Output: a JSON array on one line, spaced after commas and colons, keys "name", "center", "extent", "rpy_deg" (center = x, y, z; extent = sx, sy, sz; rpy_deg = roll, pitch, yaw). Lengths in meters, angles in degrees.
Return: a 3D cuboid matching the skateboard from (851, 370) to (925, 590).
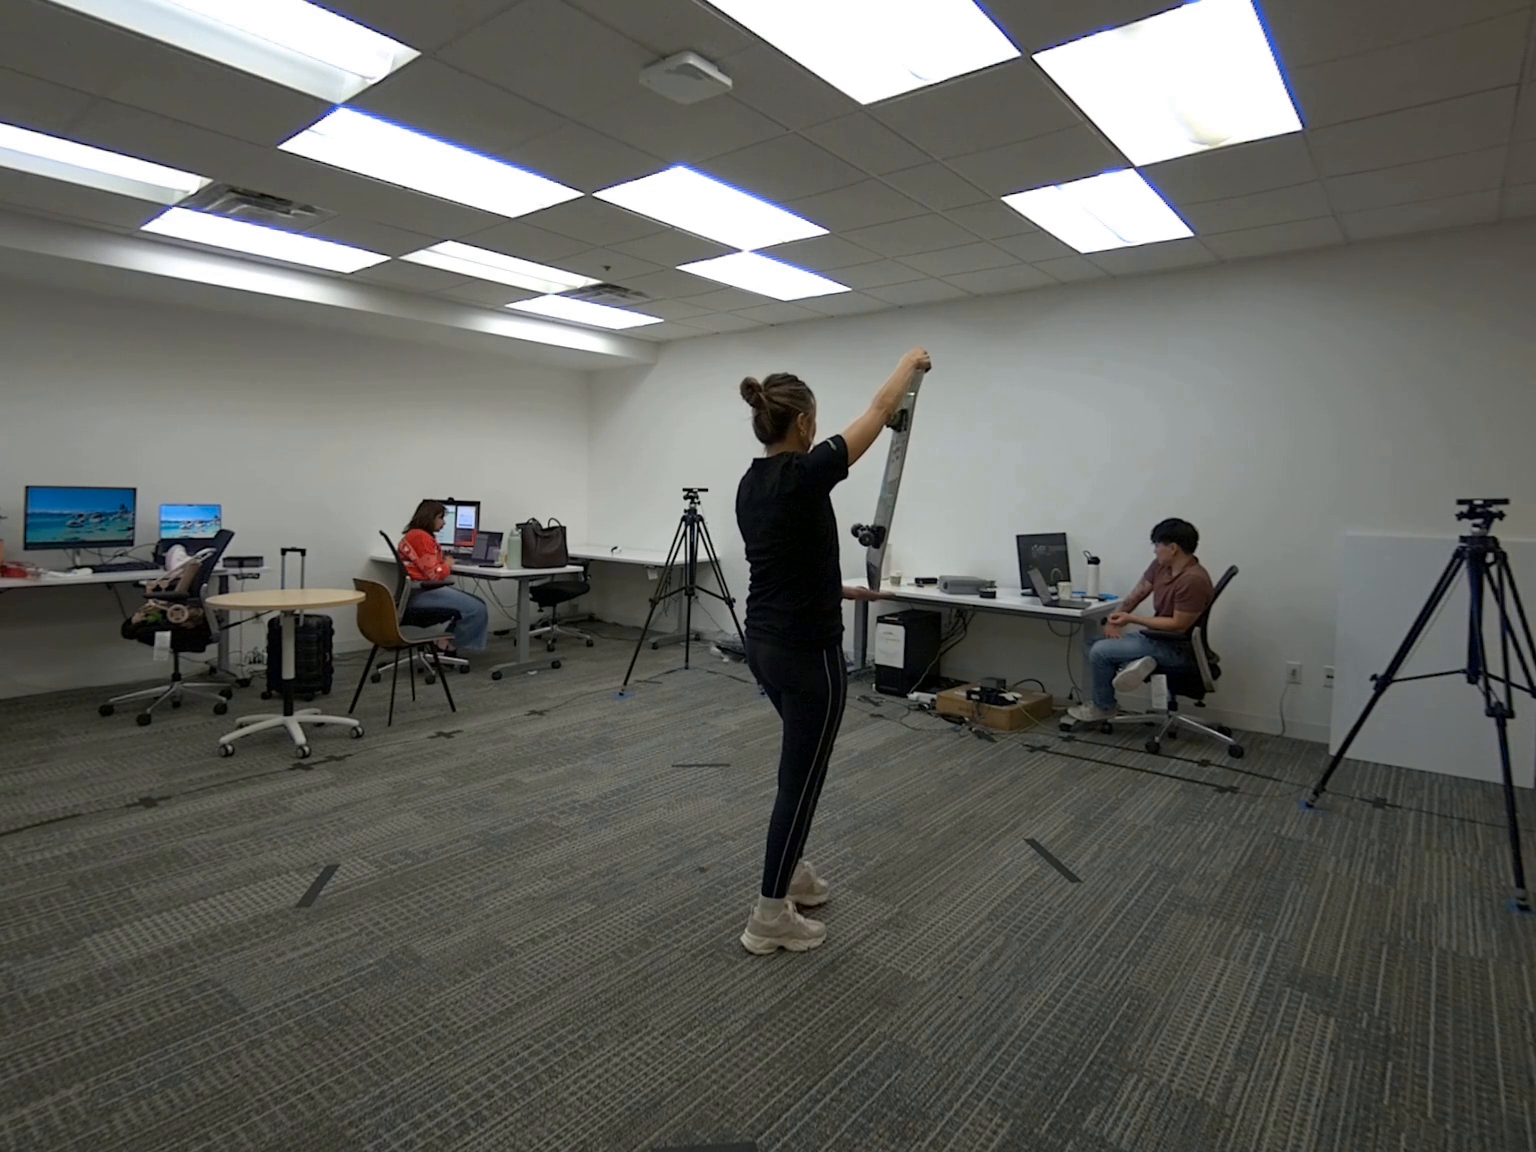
[{"name": "skateboard", "center": [0.379, -0.323, 2.819], "extent": [0.110, 0.780, 0.195], "rpy_deg": [10, 9, -5]}]
